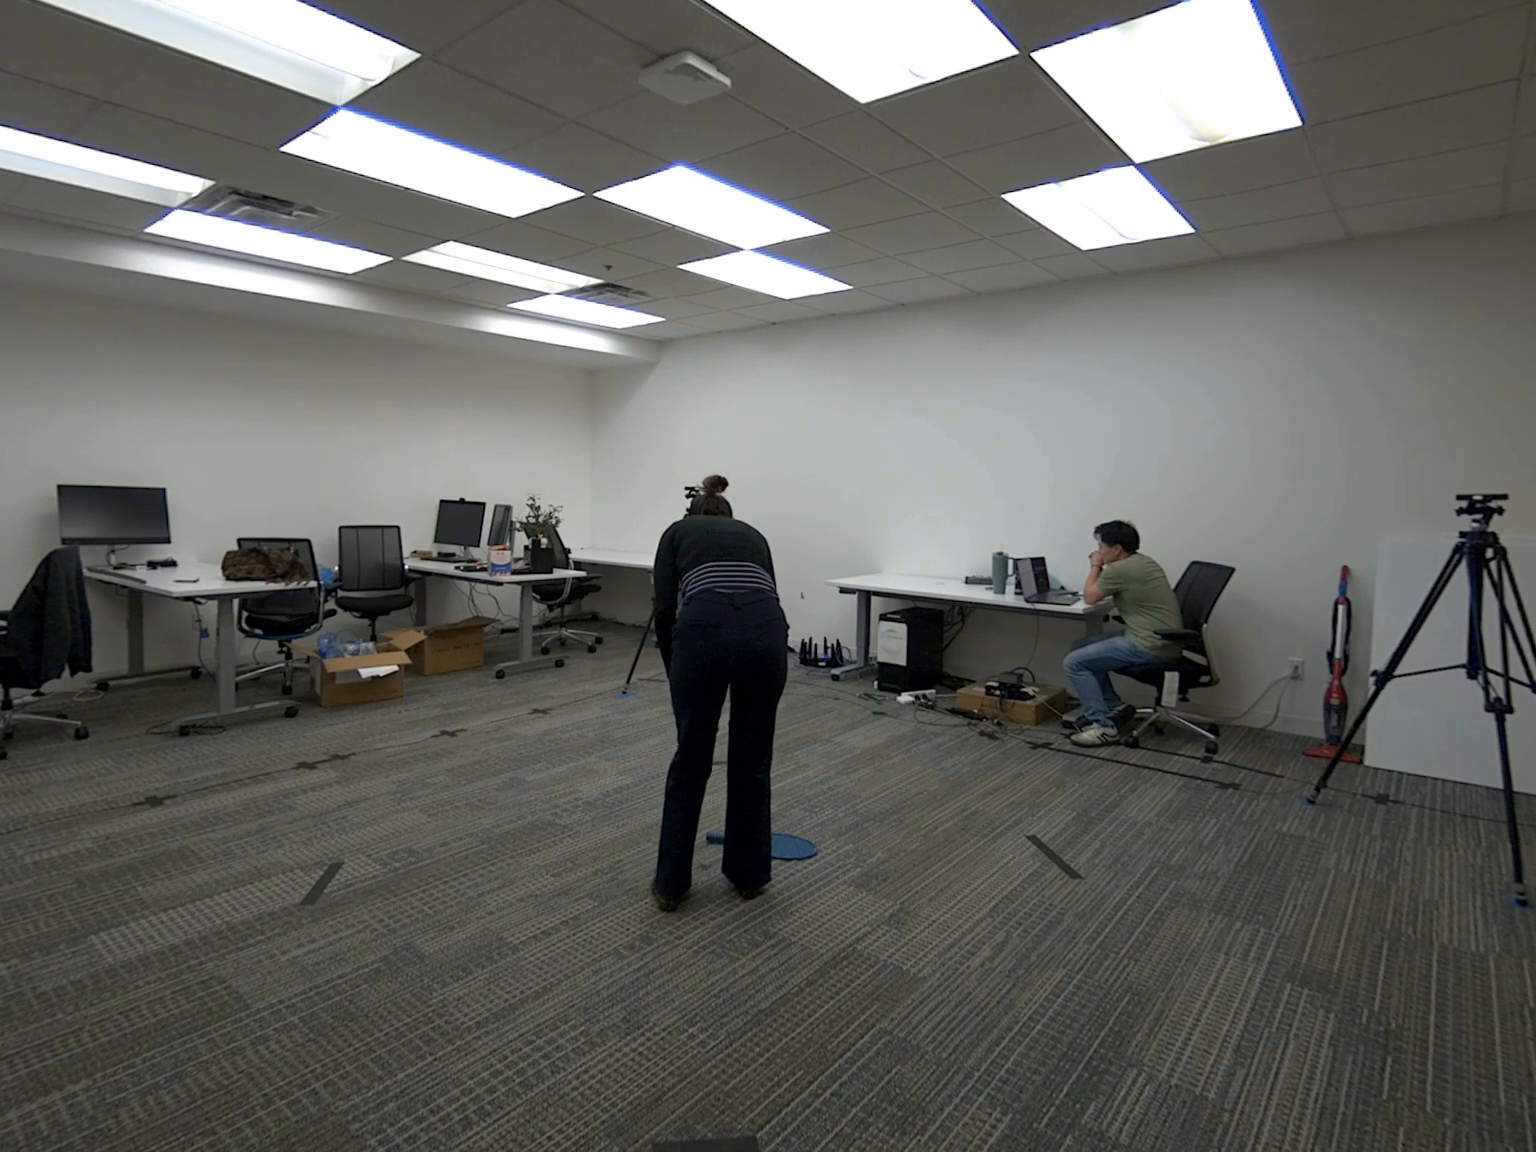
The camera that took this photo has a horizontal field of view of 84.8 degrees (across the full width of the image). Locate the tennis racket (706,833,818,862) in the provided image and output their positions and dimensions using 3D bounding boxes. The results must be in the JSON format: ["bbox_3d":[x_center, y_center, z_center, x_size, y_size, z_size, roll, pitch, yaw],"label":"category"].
[{"bbox_3d":[-0.034,1.034,3.297,0.436,0.031,0.213,3,6,7],"label":"tennis racket"}]
